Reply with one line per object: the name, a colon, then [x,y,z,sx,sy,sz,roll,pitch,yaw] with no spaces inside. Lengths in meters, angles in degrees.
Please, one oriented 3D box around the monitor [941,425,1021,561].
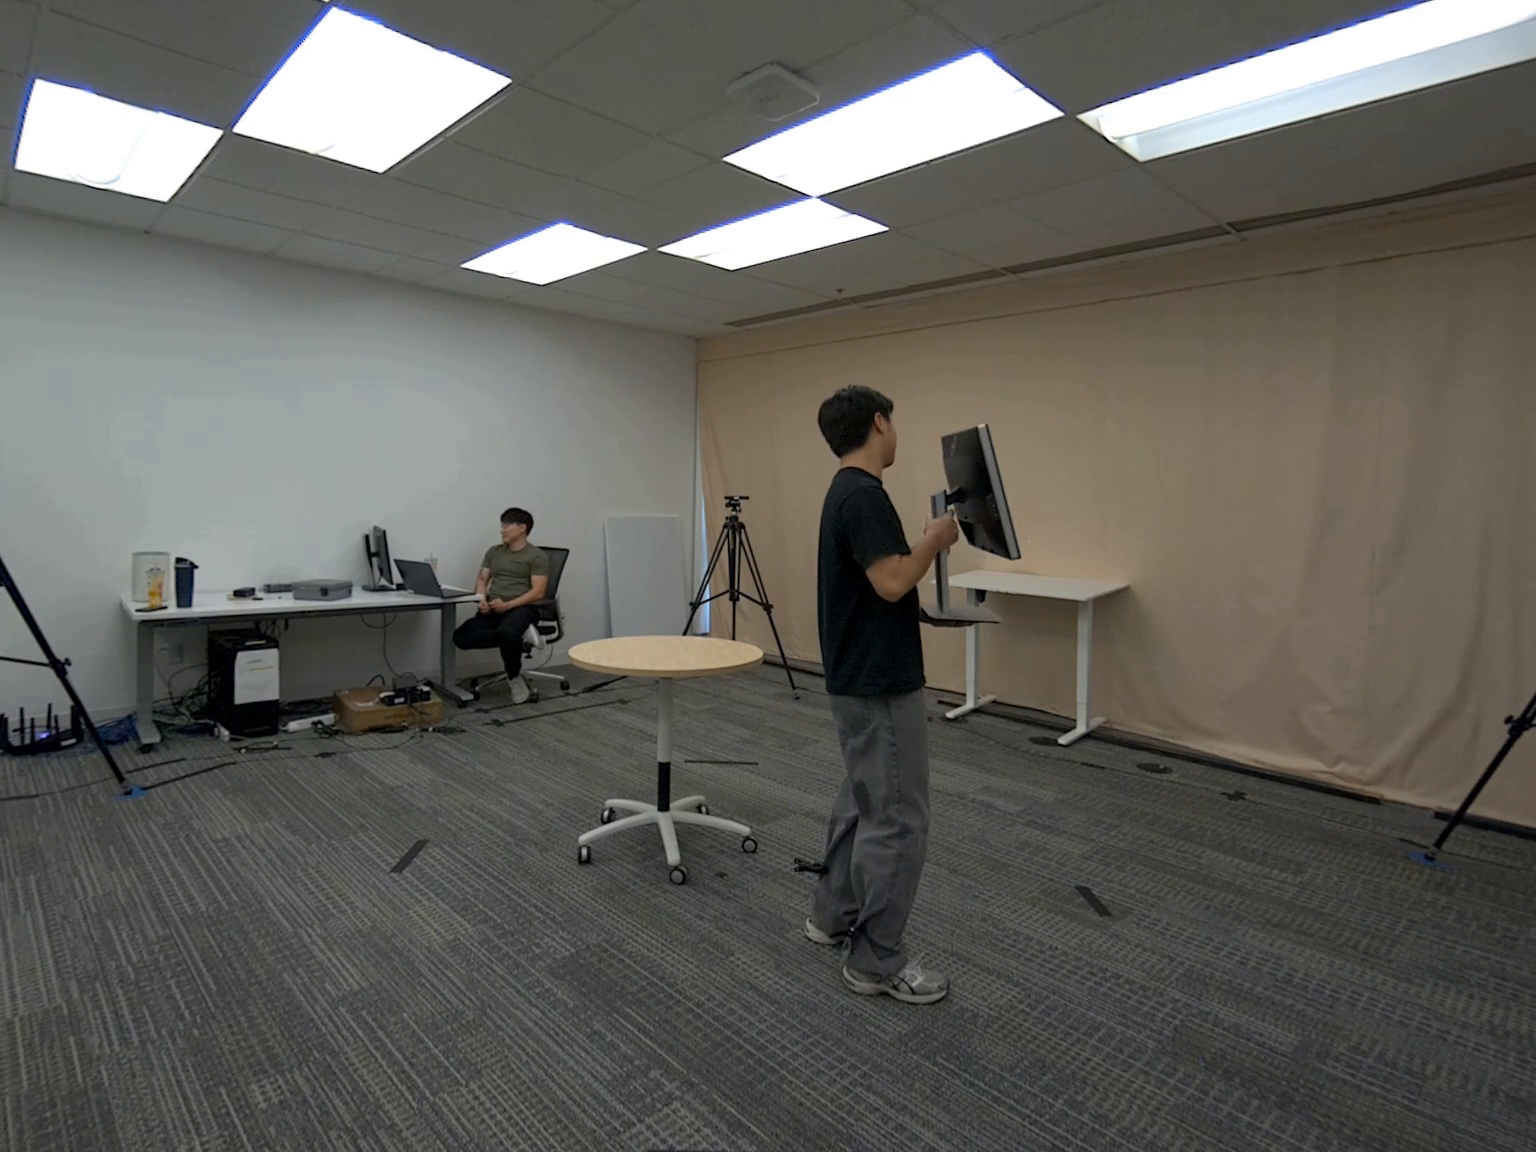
monitor: [0.568,-0.140,2.458,0.223,0.564,0.561,2,6,5]
